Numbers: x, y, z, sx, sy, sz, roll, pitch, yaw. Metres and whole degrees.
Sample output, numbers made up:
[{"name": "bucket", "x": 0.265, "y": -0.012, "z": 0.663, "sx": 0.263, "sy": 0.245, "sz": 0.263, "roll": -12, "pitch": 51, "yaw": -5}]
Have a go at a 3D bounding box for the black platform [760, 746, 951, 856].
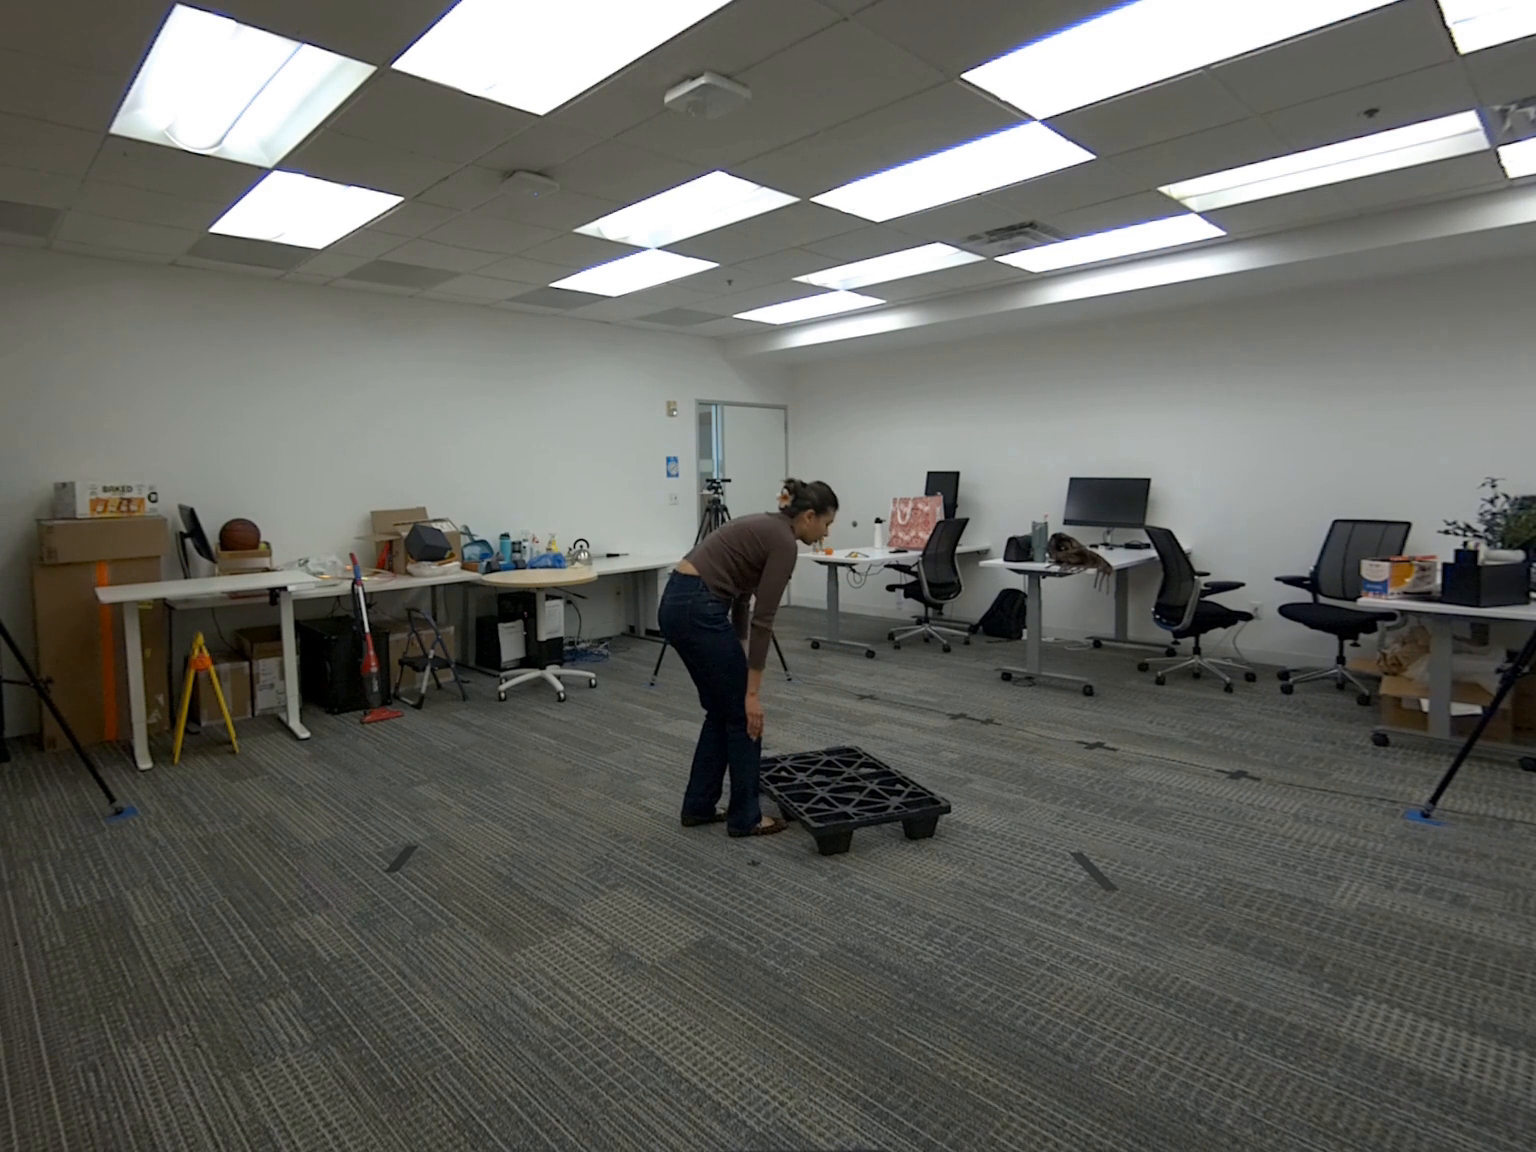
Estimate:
[{"name": "black platform", "x": 0.289, "y": 0.919, "z": 3.574, "sx": 0.594, "sy": 0.143, "sz": 0.824, "roll": -2, "pitch": 7, "yaw": -21}]
